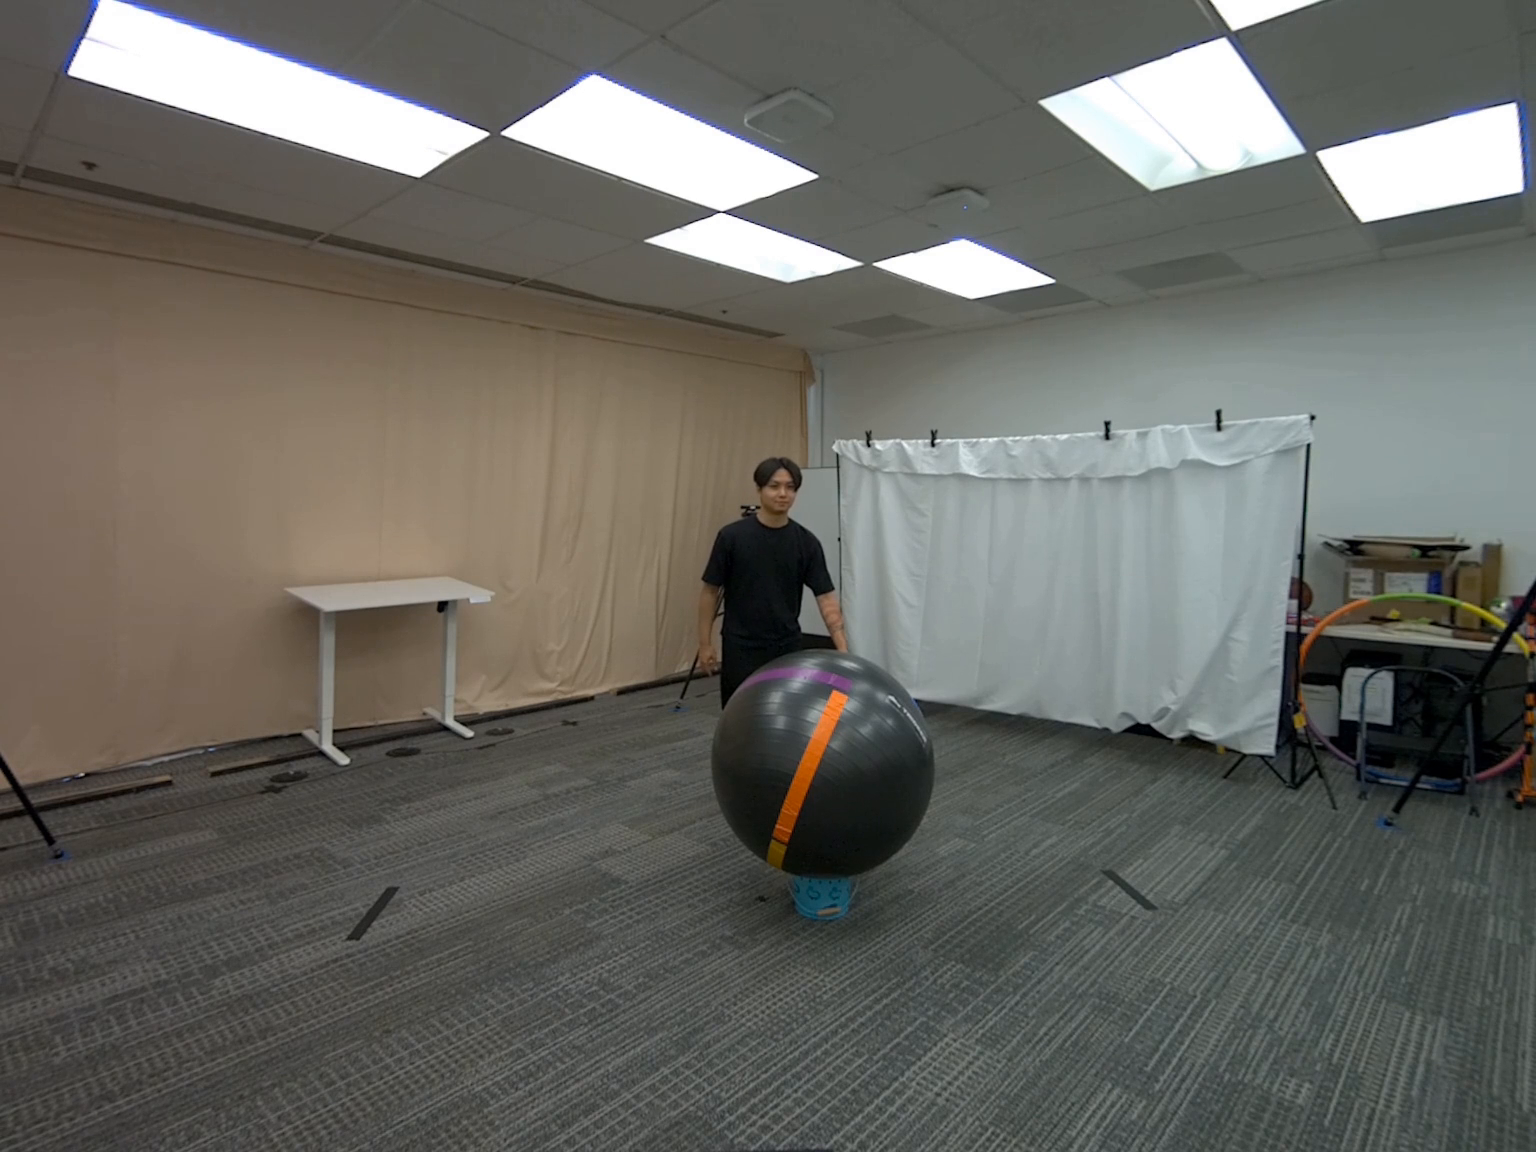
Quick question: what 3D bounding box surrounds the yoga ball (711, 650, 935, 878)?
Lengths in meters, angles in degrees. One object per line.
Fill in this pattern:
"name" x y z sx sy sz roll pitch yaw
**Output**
"yoga ball" 0.187 0.641 2.885 0.757 0.756 0.760 0 4 -2
